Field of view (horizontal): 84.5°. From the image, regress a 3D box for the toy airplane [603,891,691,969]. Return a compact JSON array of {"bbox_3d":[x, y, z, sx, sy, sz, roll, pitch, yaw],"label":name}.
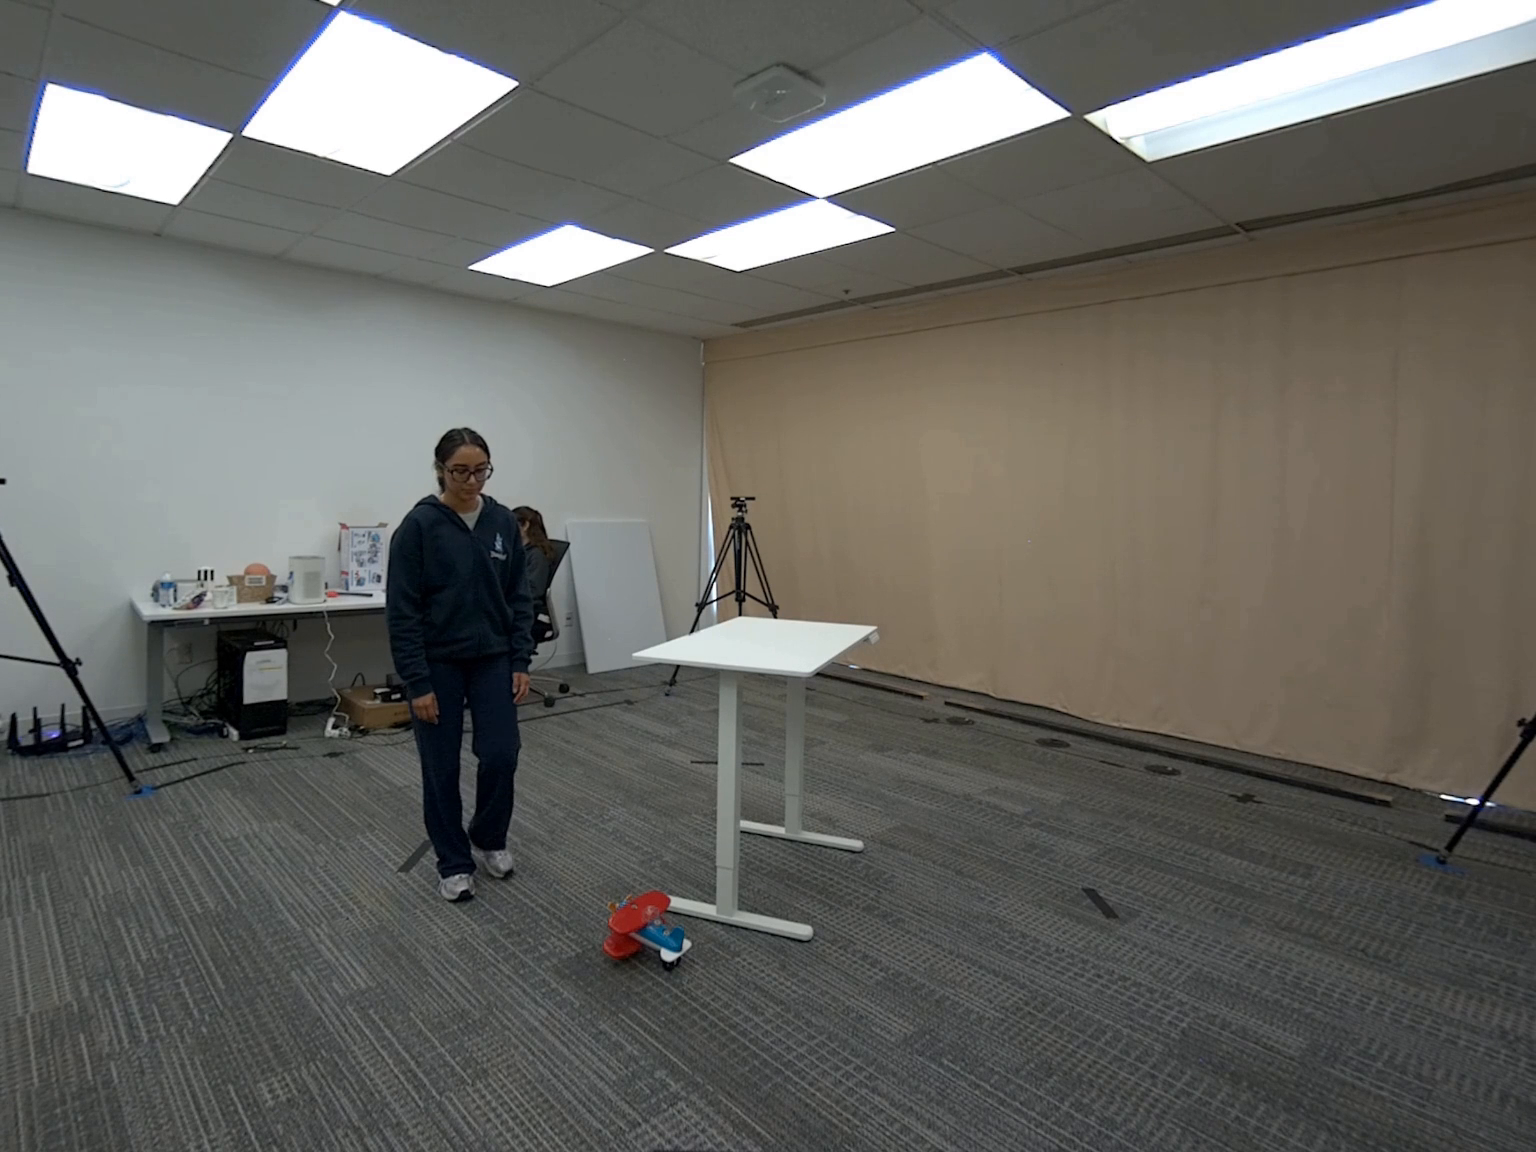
[{"bbox_3d":[-0.357,1.082,2.557,0.260,0.156,0.251,1,4,3],"label":"toy airplane"}]
